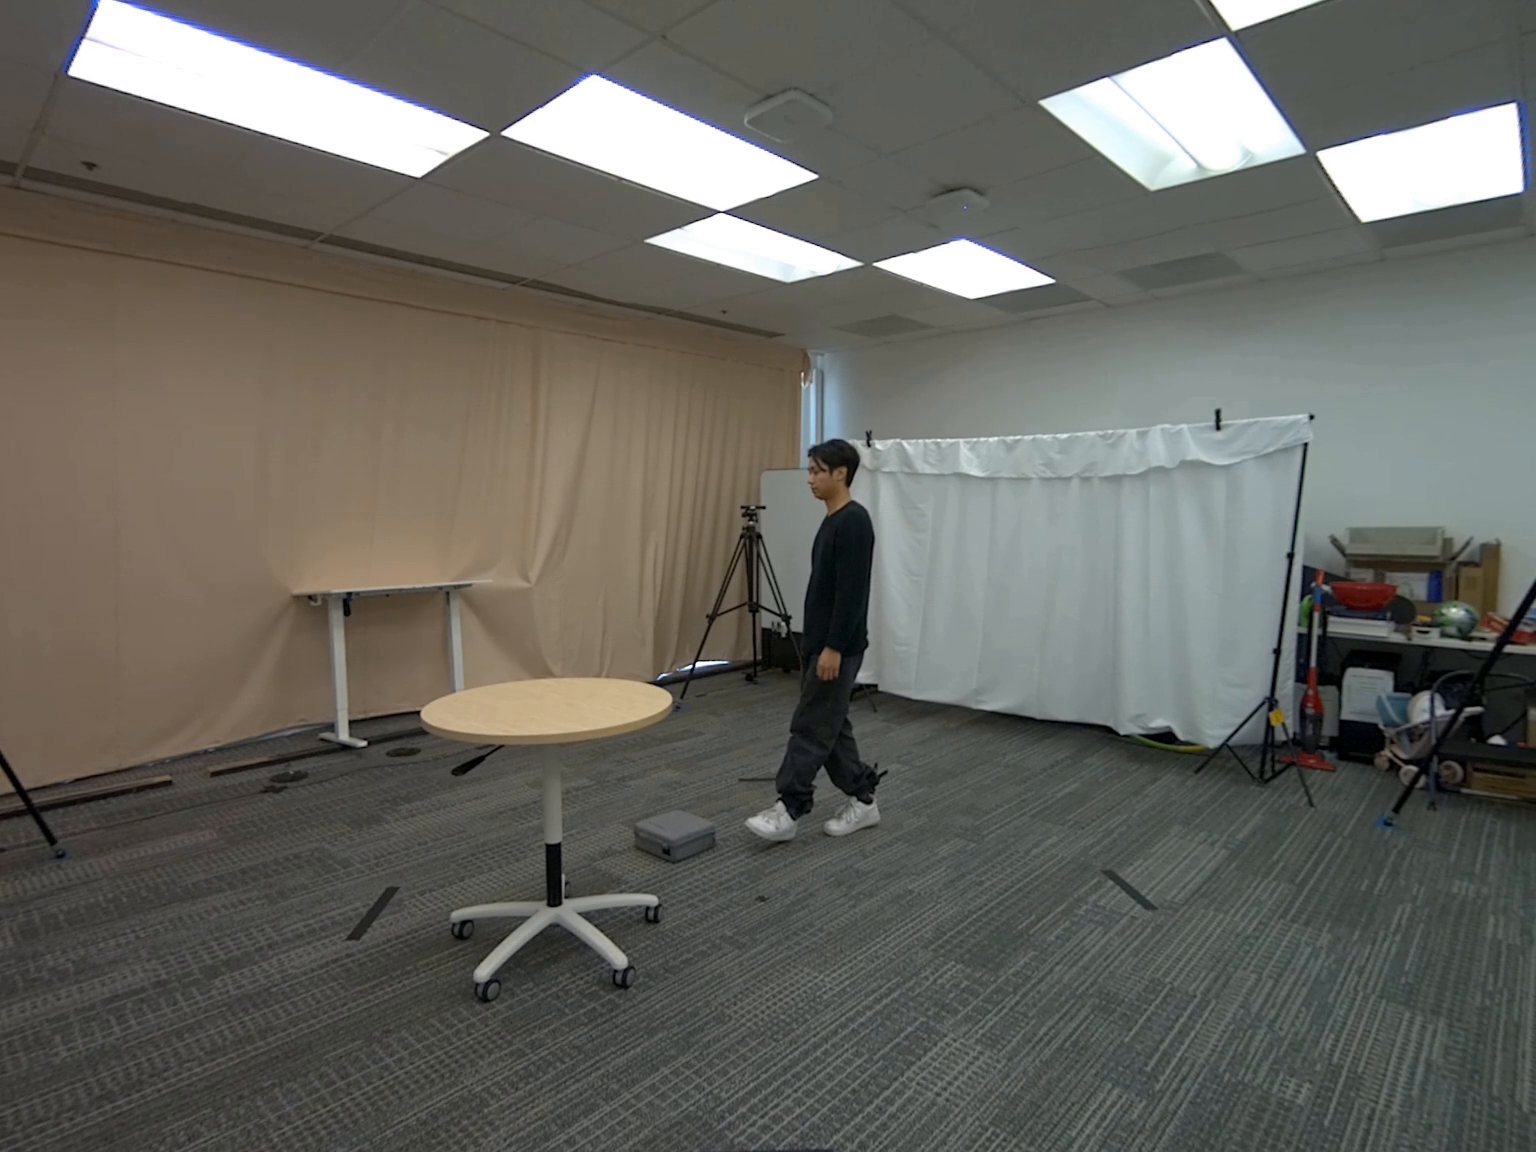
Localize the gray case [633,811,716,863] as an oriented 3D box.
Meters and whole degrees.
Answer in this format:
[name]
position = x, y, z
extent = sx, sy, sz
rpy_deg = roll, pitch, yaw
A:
[gray case]
position = -0.381, 1.053, 3.446
extent = 0.265, 0.104, 0.253
rpy_deg = 2, 5, 43
